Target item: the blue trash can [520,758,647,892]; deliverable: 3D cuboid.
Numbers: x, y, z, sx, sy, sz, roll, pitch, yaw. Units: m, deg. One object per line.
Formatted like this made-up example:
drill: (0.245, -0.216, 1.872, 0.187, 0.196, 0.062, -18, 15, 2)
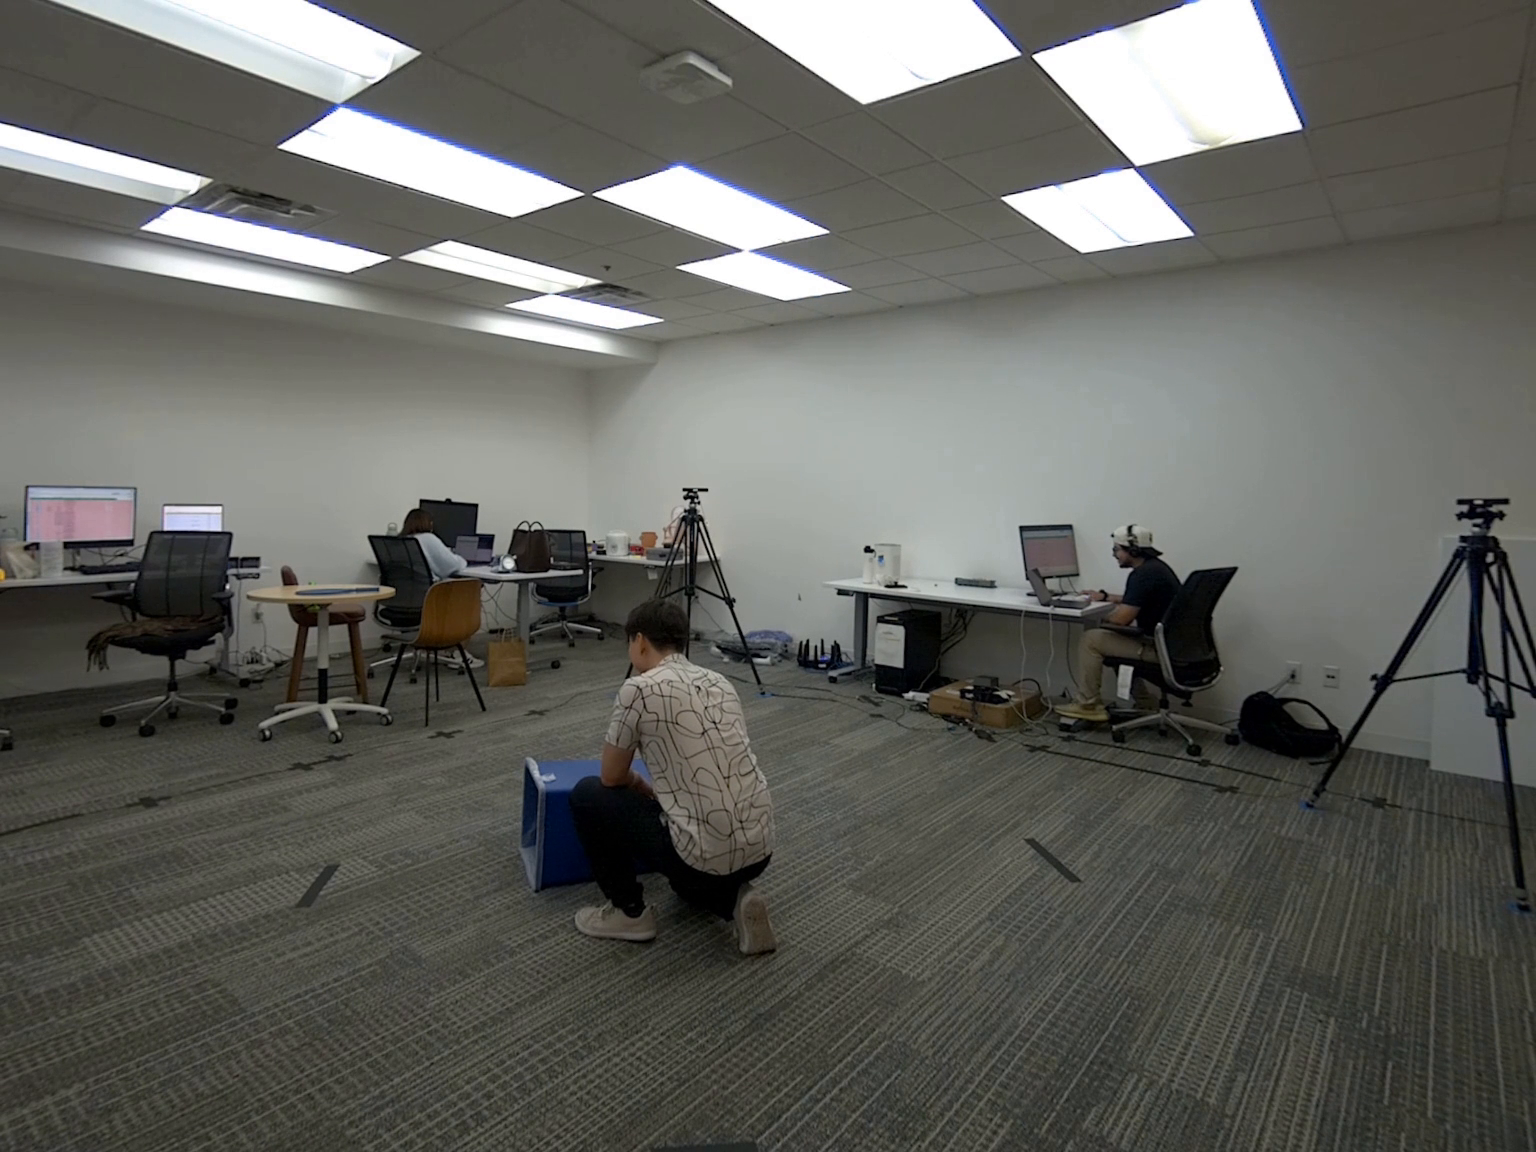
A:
blue trash can: (-0.545, 0.887, 3.174, 0.698, 0.373, 0.388, 3, 4, -22)
